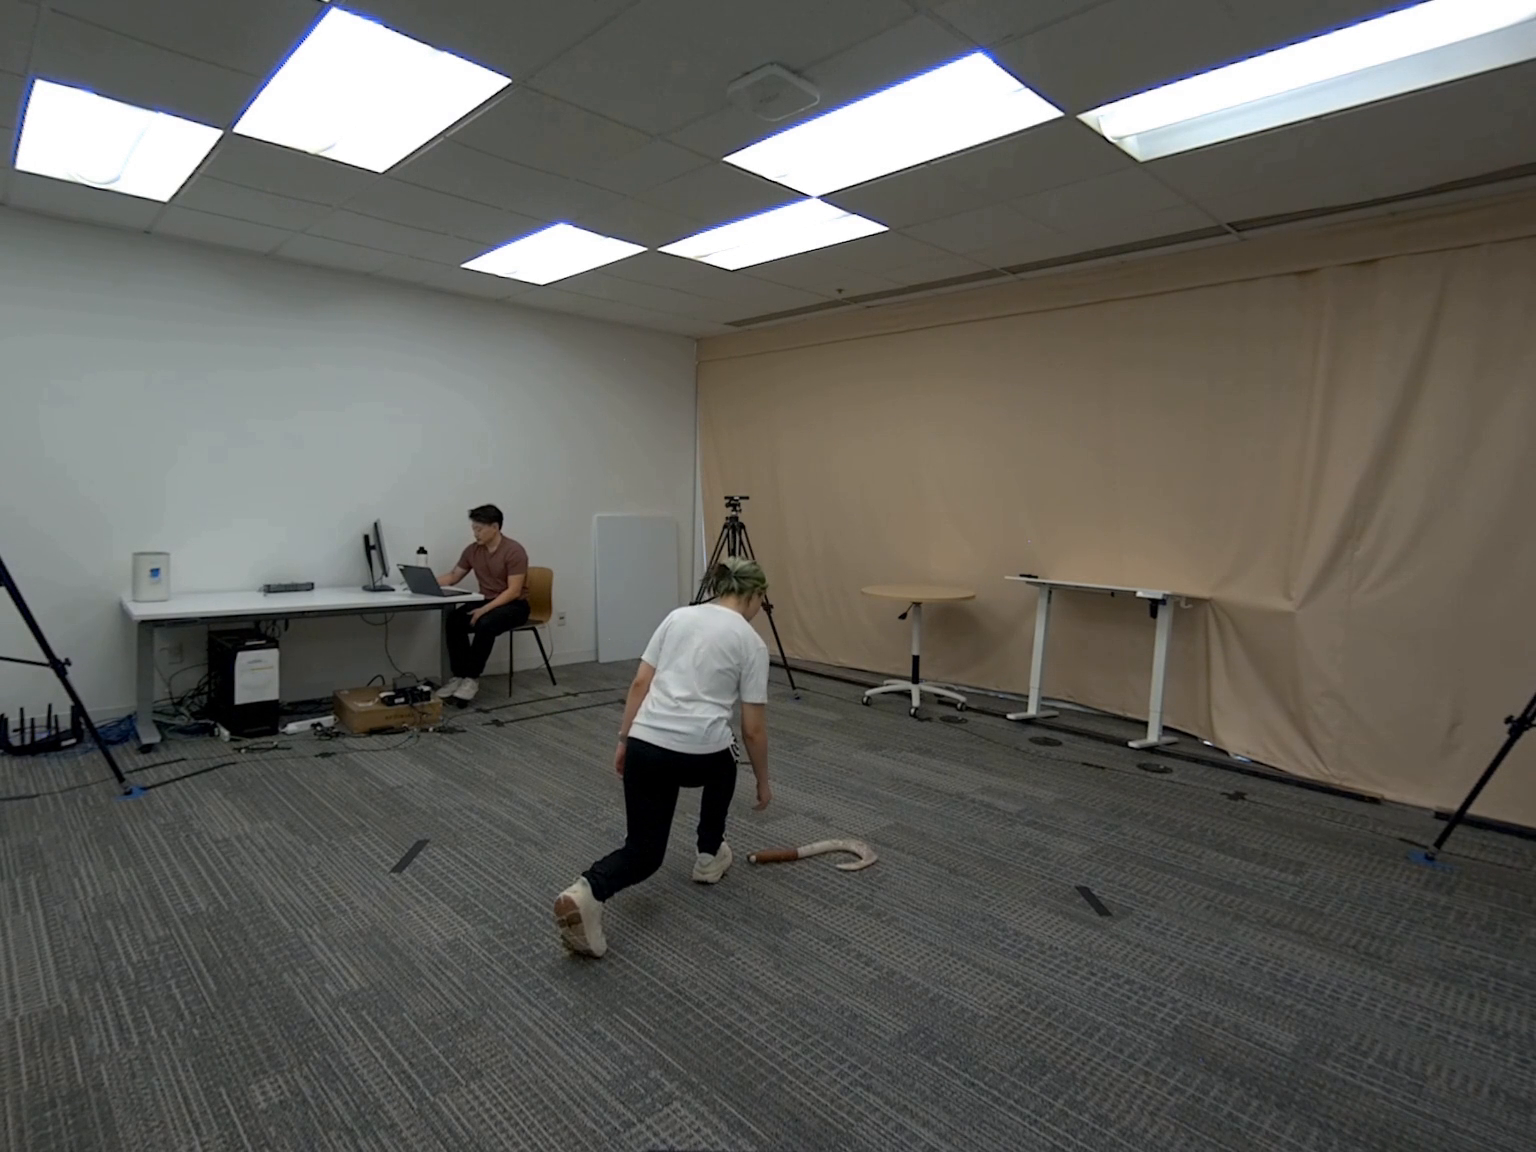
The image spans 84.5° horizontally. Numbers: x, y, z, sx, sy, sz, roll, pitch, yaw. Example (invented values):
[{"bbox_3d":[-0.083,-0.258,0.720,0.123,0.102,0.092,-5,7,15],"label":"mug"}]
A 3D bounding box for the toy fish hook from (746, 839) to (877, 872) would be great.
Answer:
[{"bbox_3d":[0.166,1.075,3.223,0.499,0.048,0.228,-1,4,-19],"label":"toy fish hook"}]
